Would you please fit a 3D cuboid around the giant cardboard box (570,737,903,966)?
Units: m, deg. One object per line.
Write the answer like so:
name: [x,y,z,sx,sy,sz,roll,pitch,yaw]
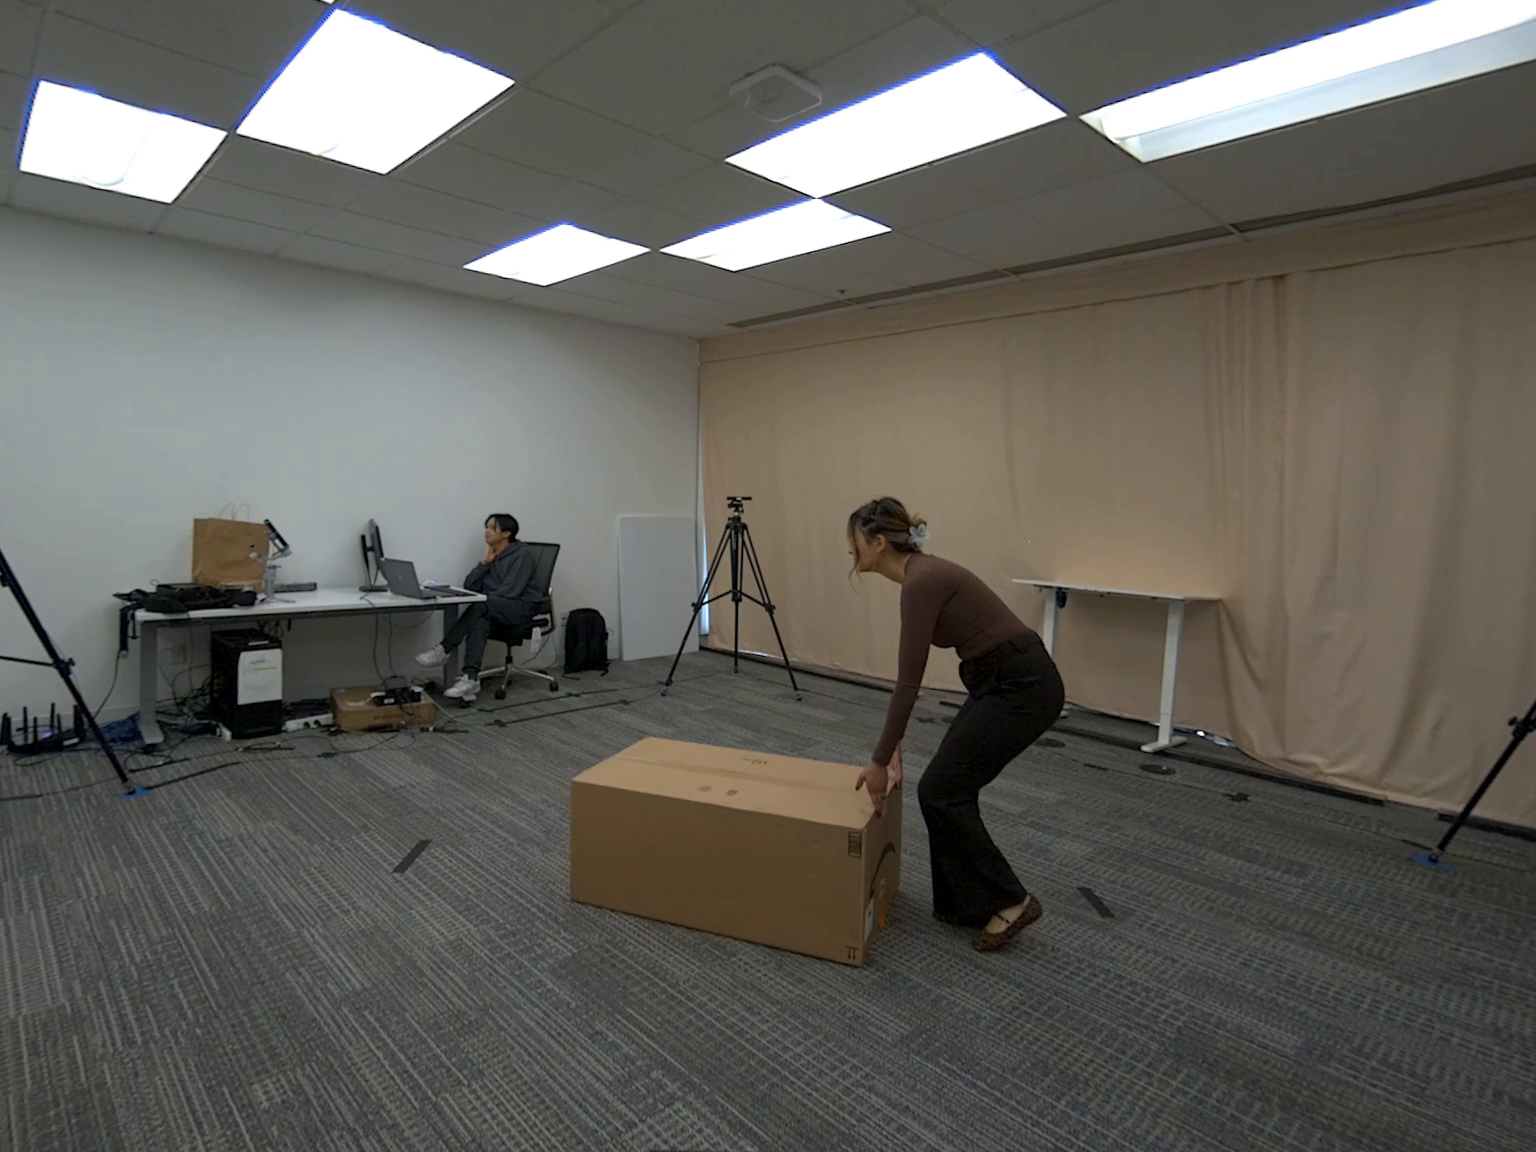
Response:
giant cardboard box: [-0.103,0.910,2.944,1.045,0.446,0.575,4,4,22]
